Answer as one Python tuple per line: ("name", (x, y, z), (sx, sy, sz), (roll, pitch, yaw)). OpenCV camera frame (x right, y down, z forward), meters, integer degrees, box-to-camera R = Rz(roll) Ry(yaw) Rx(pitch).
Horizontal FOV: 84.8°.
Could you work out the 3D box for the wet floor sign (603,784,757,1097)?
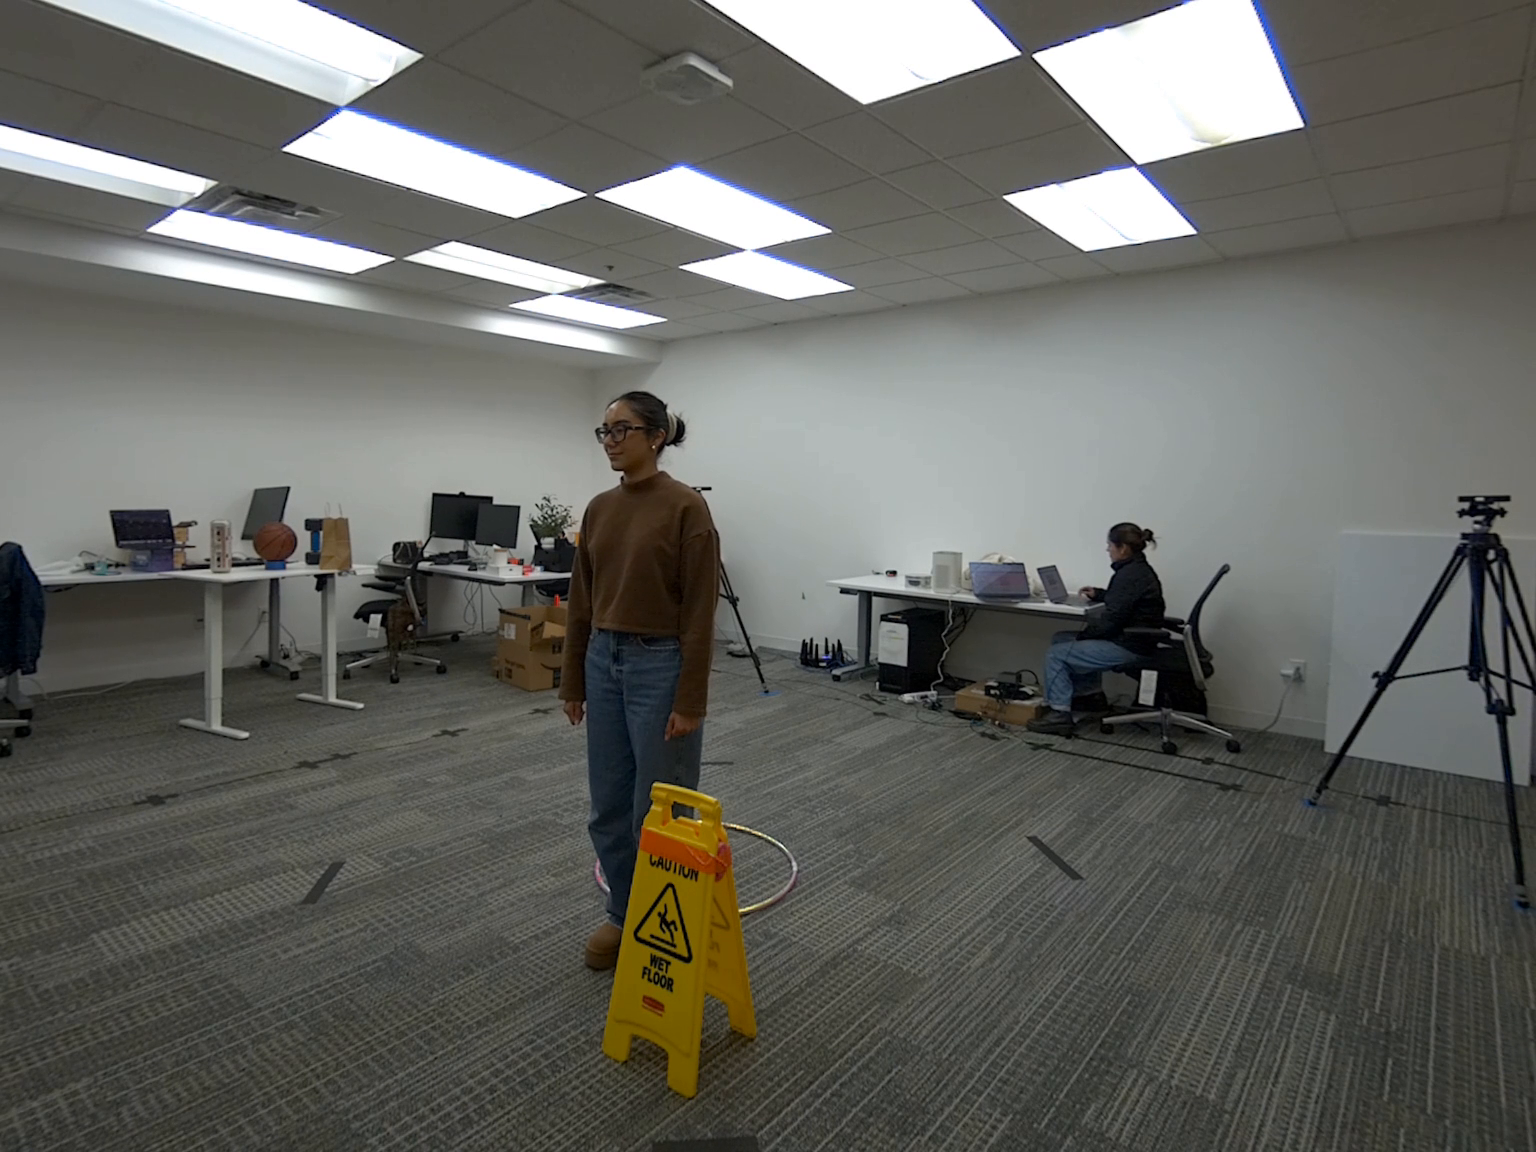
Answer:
("wet floor sign", (-0.214, 0.846, 2.099), (0.291, 0.644, 0.282), (2, 3, 33))
